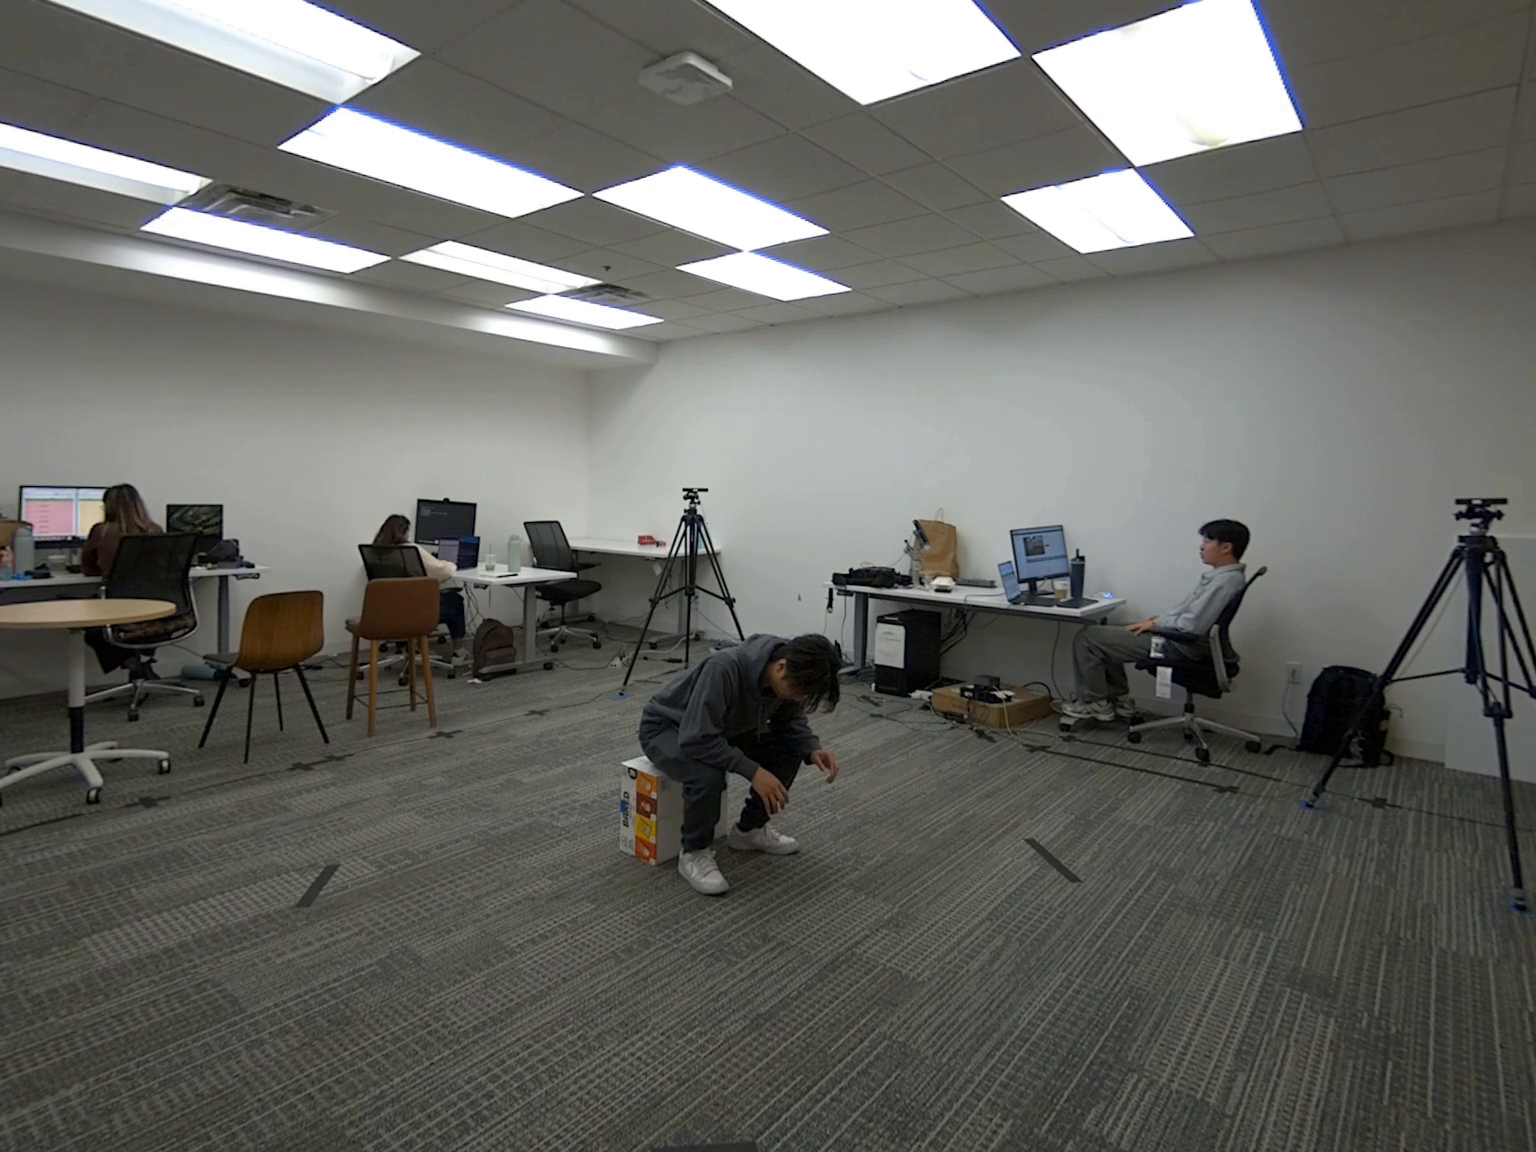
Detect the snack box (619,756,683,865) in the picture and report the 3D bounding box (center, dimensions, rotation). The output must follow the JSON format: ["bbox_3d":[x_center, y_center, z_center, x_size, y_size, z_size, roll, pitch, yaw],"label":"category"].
[{"bbox_3d":[-0.372,0.874,3.333,0.213,0.339,0.393,5,6,40],"label":"snack box"}]
